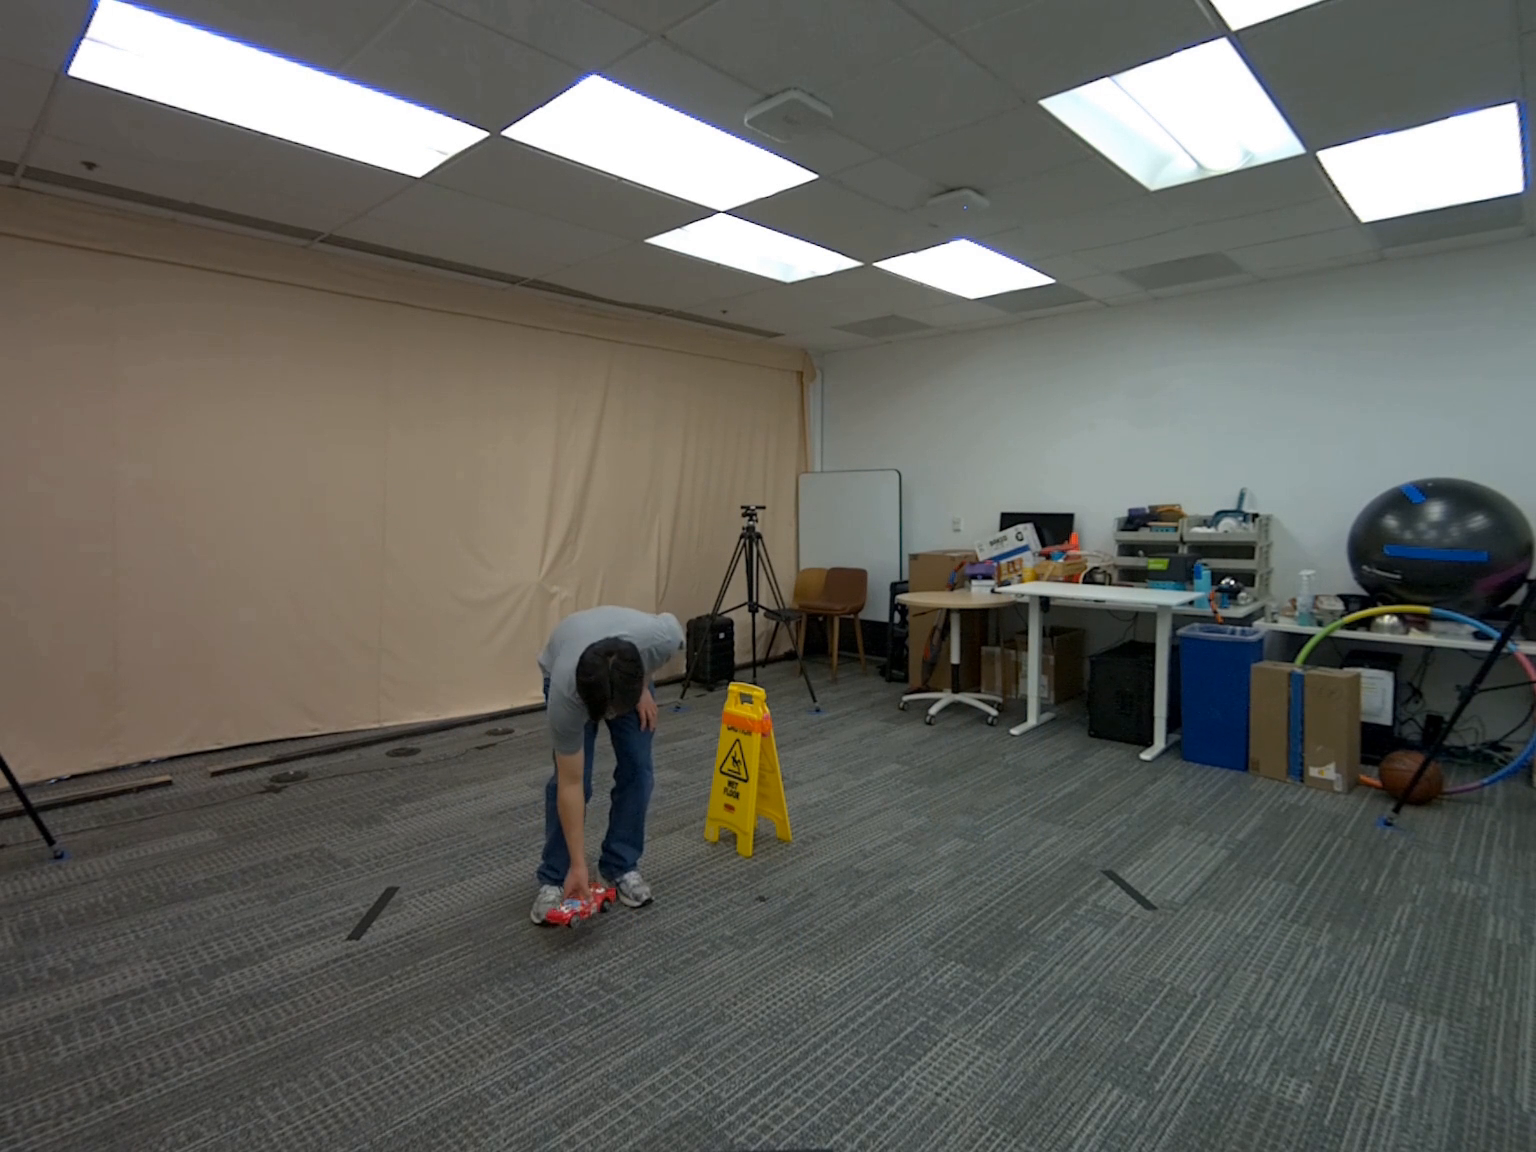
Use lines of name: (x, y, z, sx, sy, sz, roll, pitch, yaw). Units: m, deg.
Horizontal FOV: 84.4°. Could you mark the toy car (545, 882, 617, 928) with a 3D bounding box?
toy car: (-0.608, 1.053, 2.729, 0.134, 0.083, 0.248, -8, 6, 33)
